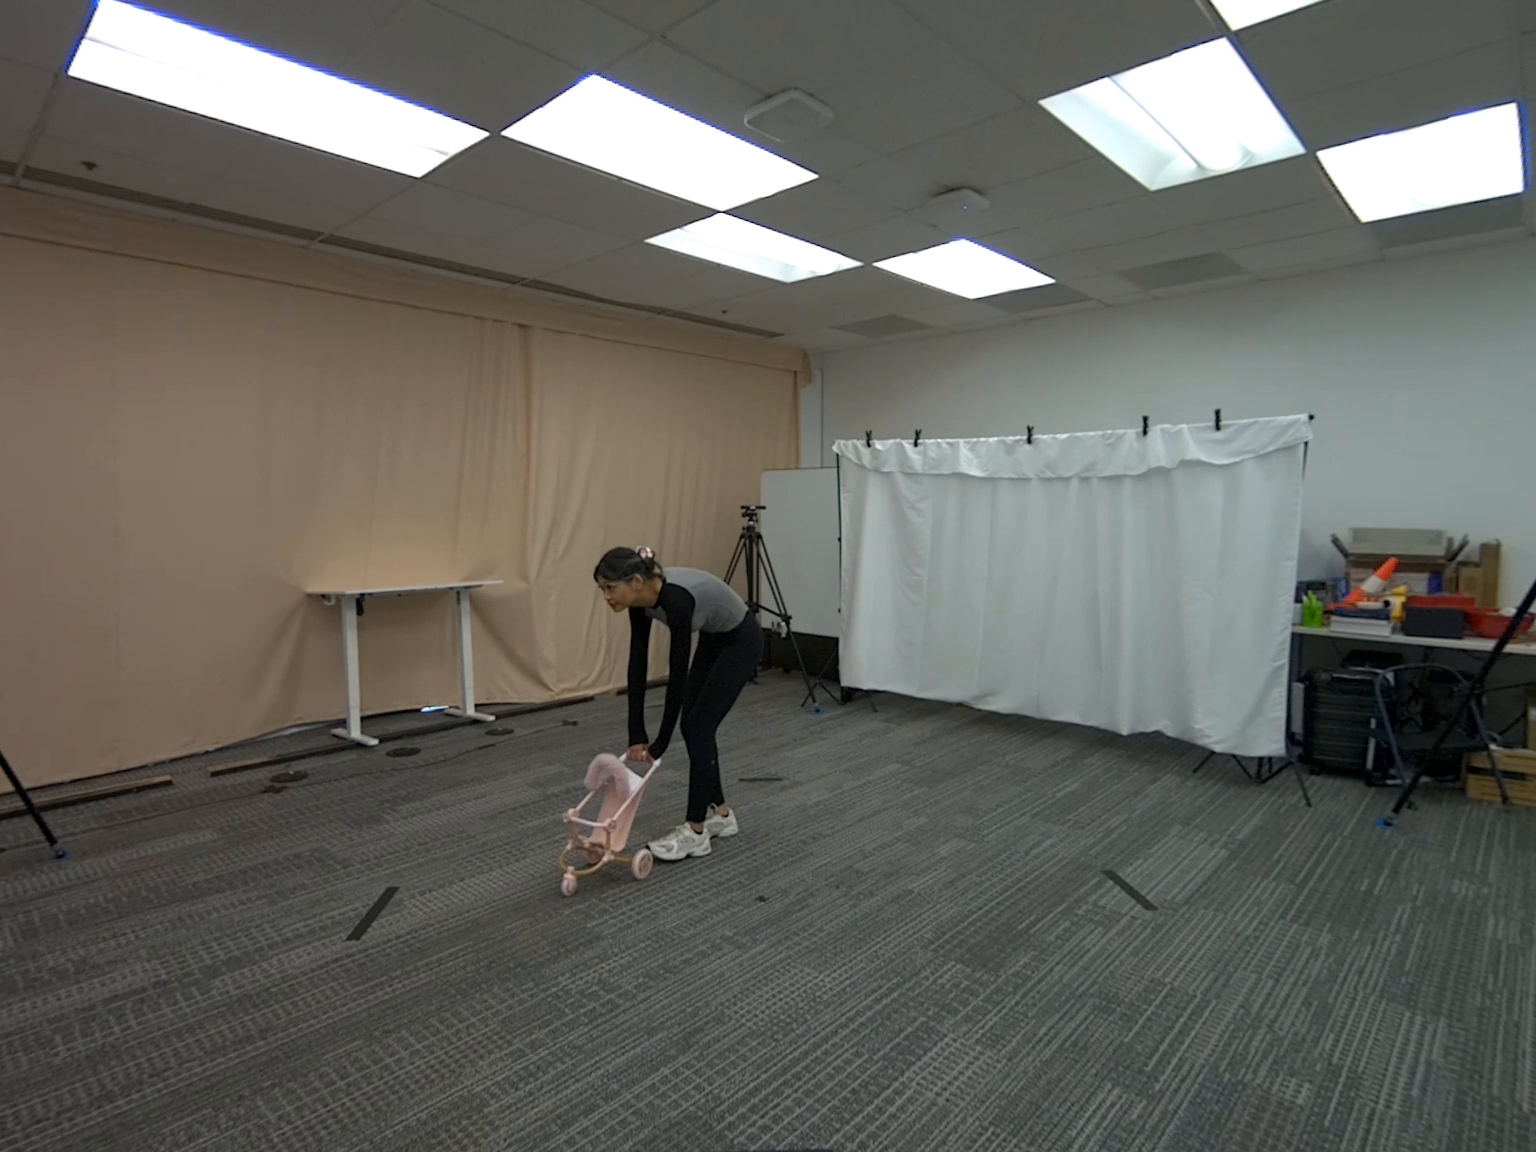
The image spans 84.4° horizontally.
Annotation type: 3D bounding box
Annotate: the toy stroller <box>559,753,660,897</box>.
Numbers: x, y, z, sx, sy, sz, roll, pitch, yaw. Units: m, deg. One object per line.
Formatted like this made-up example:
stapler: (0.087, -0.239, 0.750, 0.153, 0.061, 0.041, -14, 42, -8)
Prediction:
toy stroller: (-0.611, 0.910, 3.163, 0.290, 0.537, 0.329, 1, -13, 39)
